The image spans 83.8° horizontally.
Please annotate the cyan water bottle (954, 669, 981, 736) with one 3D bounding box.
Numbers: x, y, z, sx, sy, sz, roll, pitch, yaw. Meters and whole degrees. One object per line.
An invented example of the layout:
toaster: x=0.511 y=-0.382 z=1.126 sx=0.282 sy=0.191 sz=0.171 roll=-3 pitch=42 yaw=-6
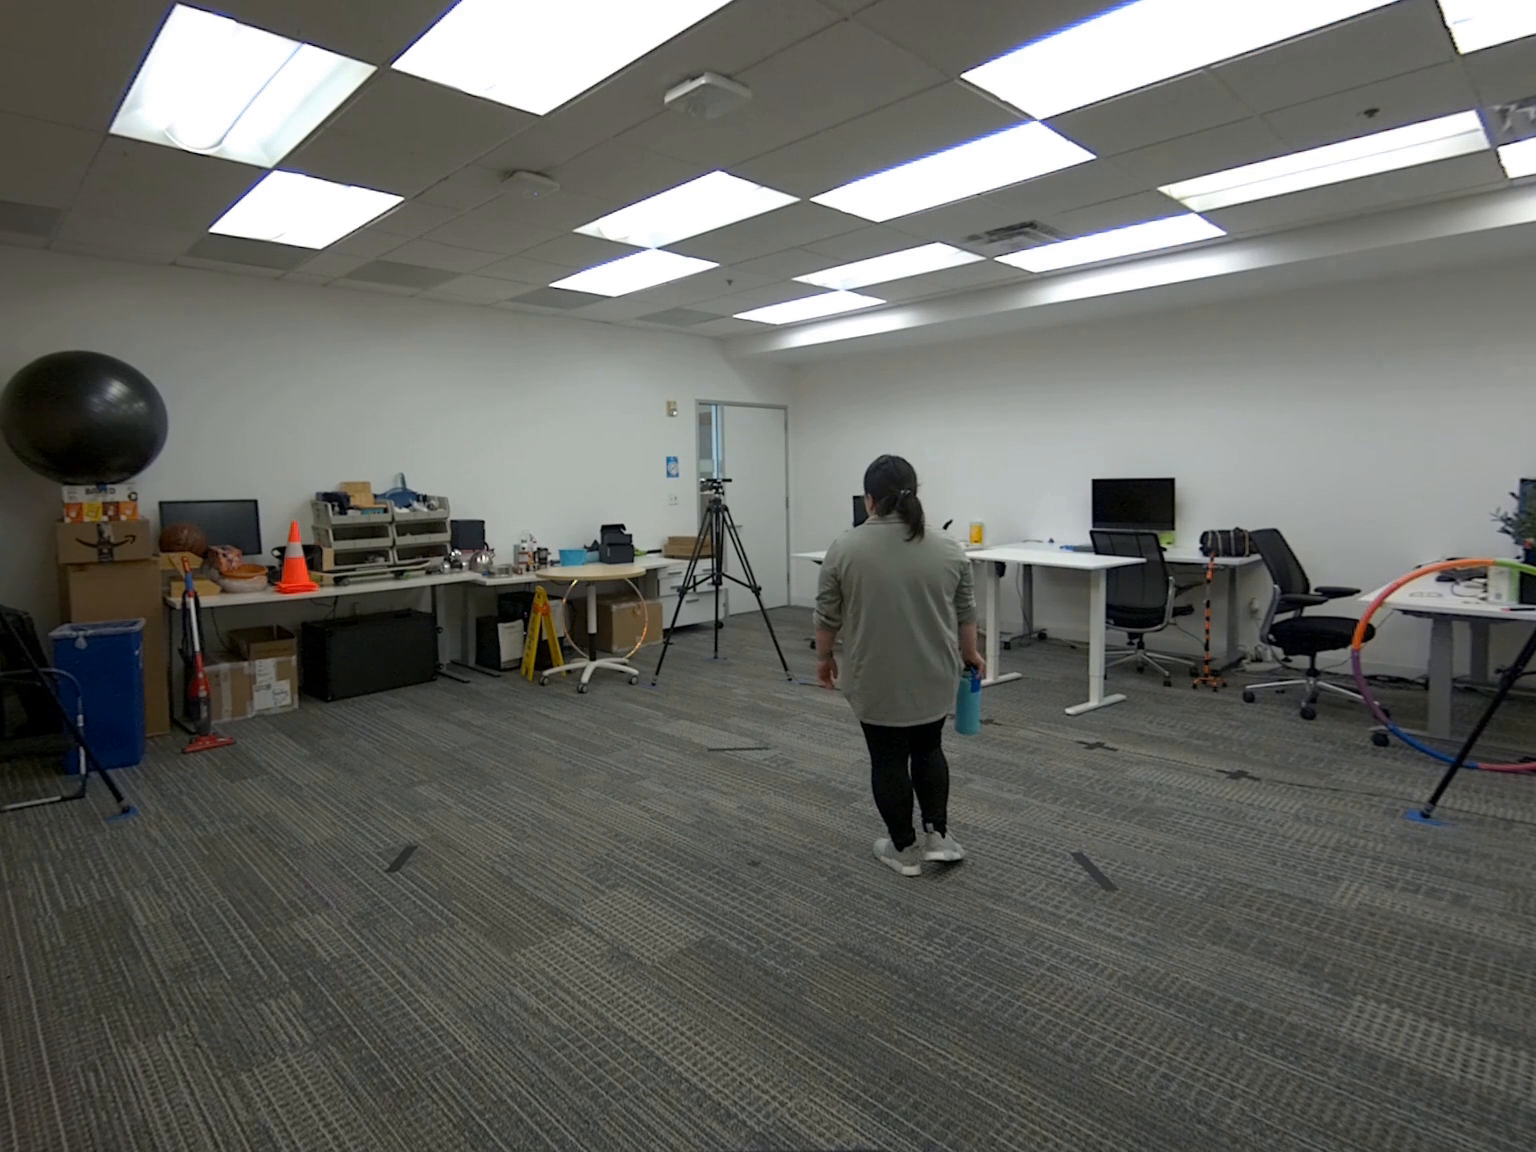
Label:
cyan water bottle: x=0.758 y=0.458 z=3.218 sx=0.092 sy=0.280 sz=0.093 roll=-2 pitch=13 yaw=-1
